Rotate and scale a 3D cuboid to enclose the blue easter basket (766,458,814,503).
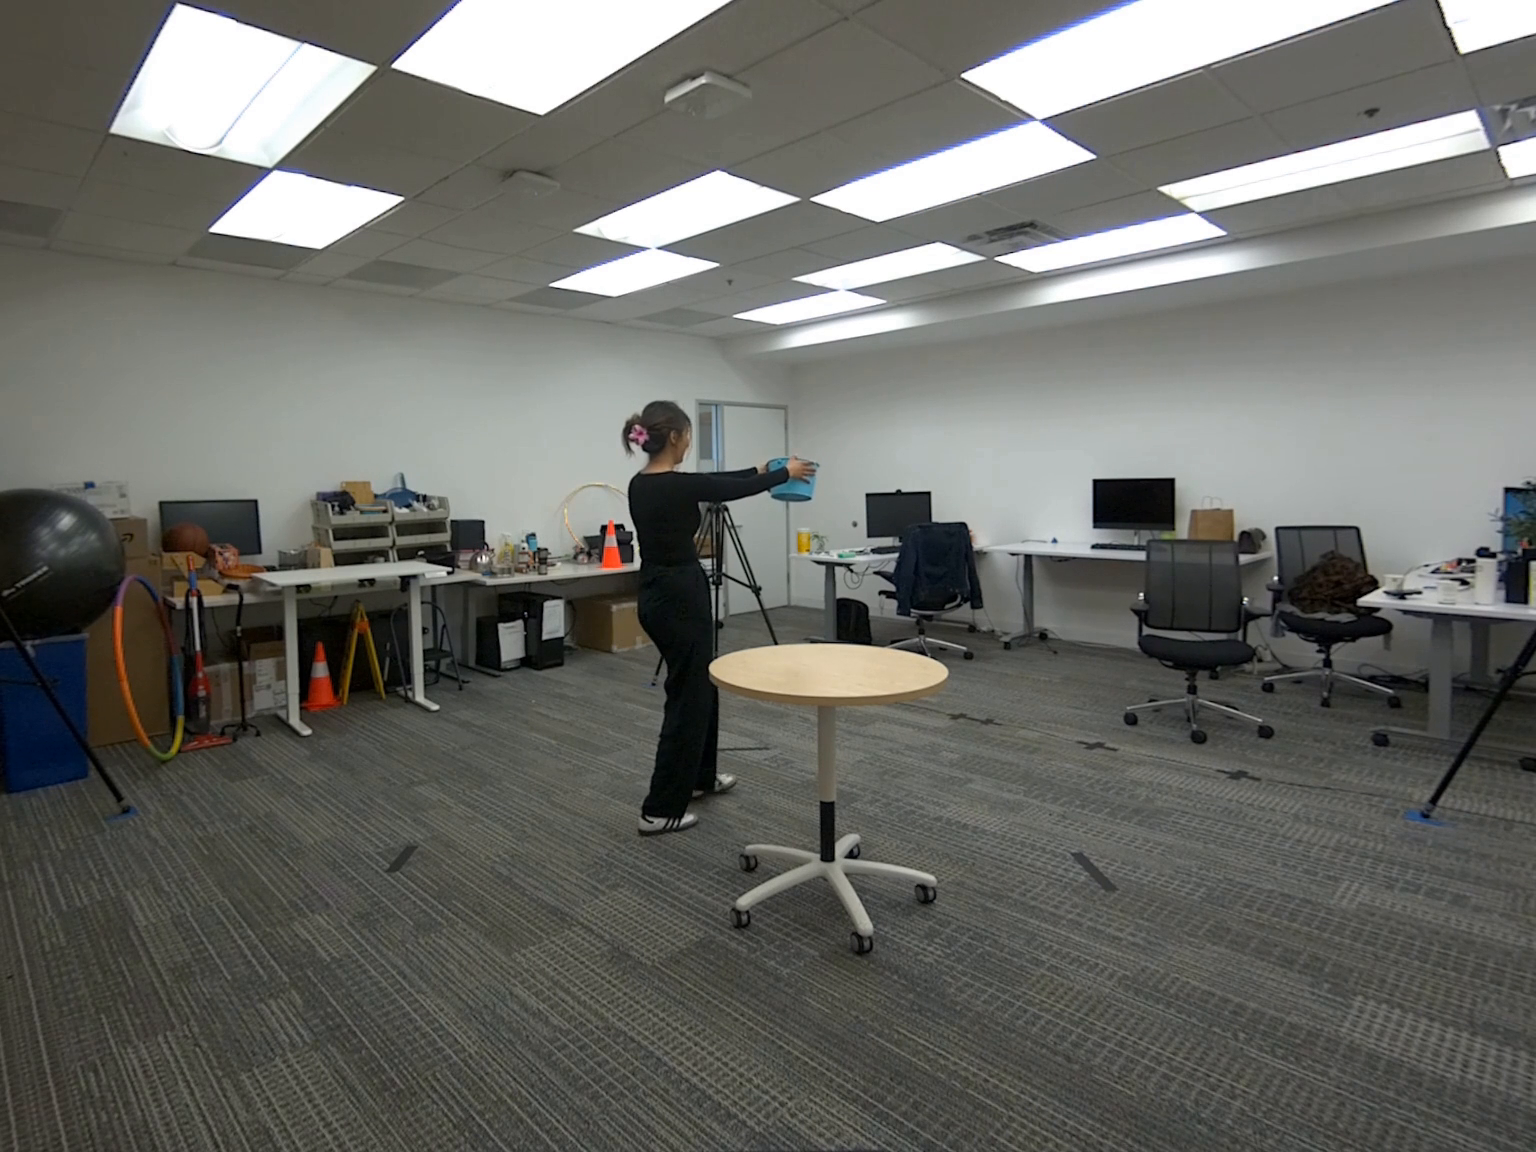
[{"bbox_3d":[0.105,-0.418,3.795,0.243,0.157,0.242,2,-5,-1],"label":"blue easter basket"}]
